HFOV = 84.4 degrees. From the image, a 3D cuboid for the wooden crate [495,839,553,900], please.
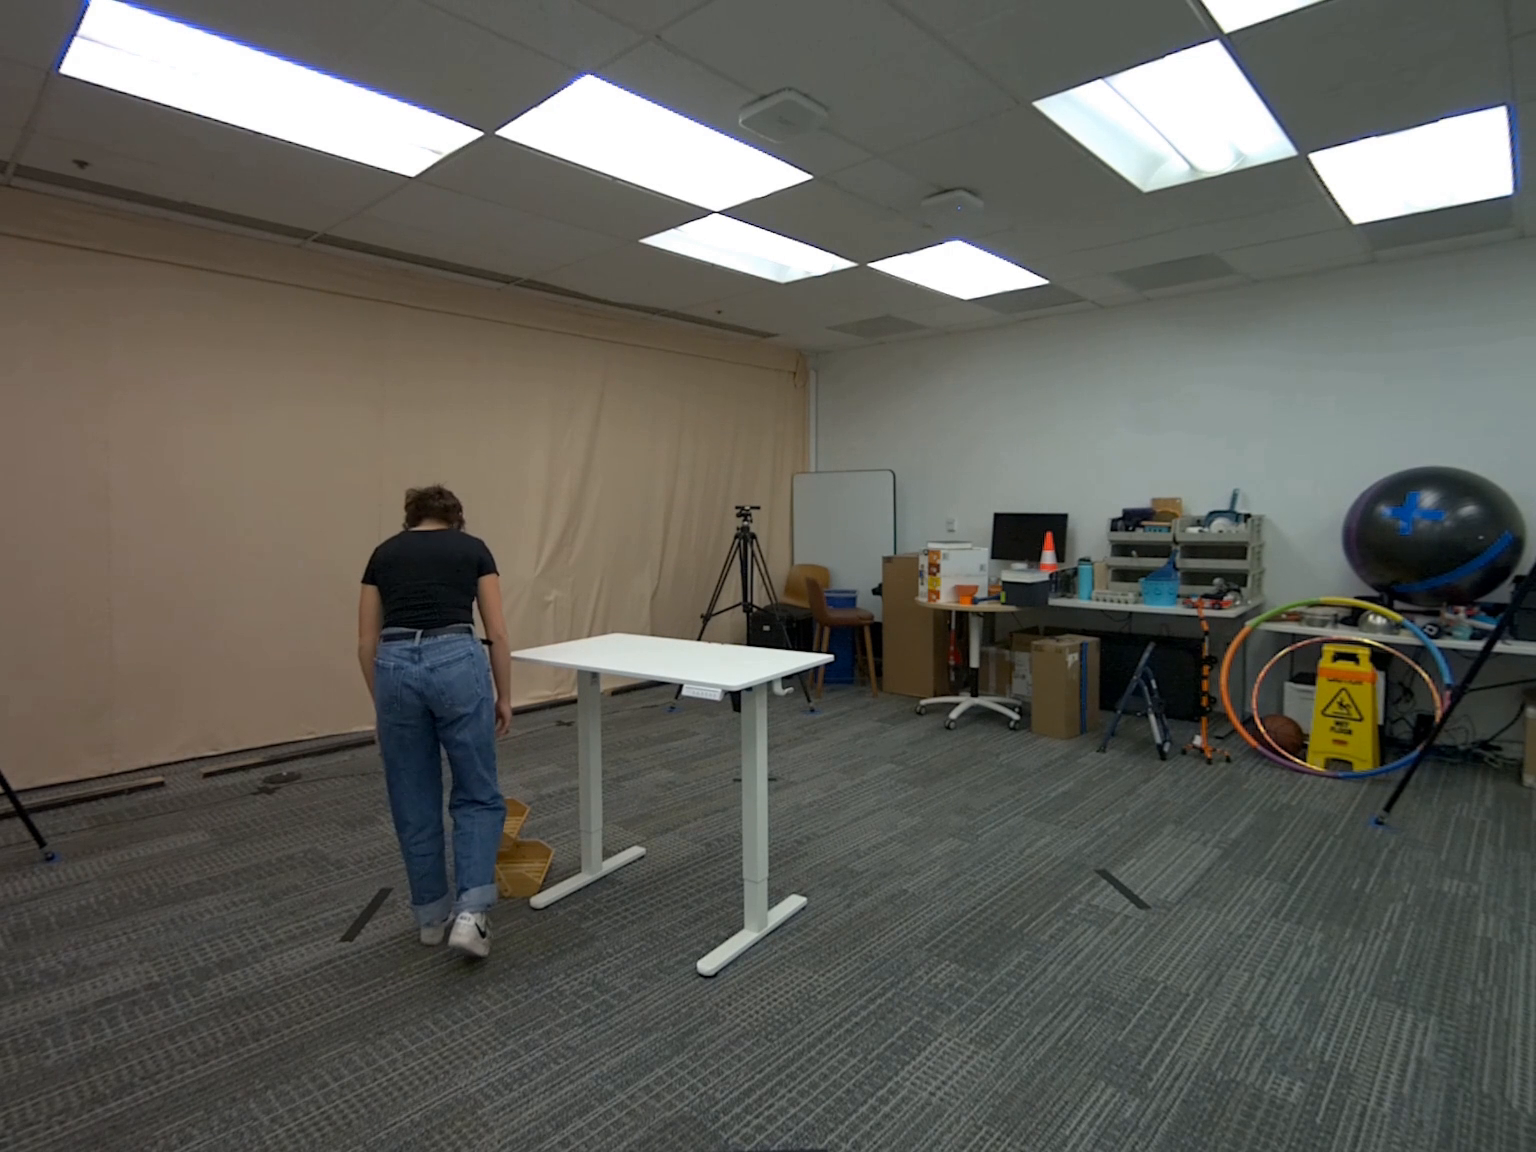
[{"bbox_3d":[-0.959,0.998,3.146,0.301,0.273,0.326,-1,4,-3],"label":"wooden crate"}]
